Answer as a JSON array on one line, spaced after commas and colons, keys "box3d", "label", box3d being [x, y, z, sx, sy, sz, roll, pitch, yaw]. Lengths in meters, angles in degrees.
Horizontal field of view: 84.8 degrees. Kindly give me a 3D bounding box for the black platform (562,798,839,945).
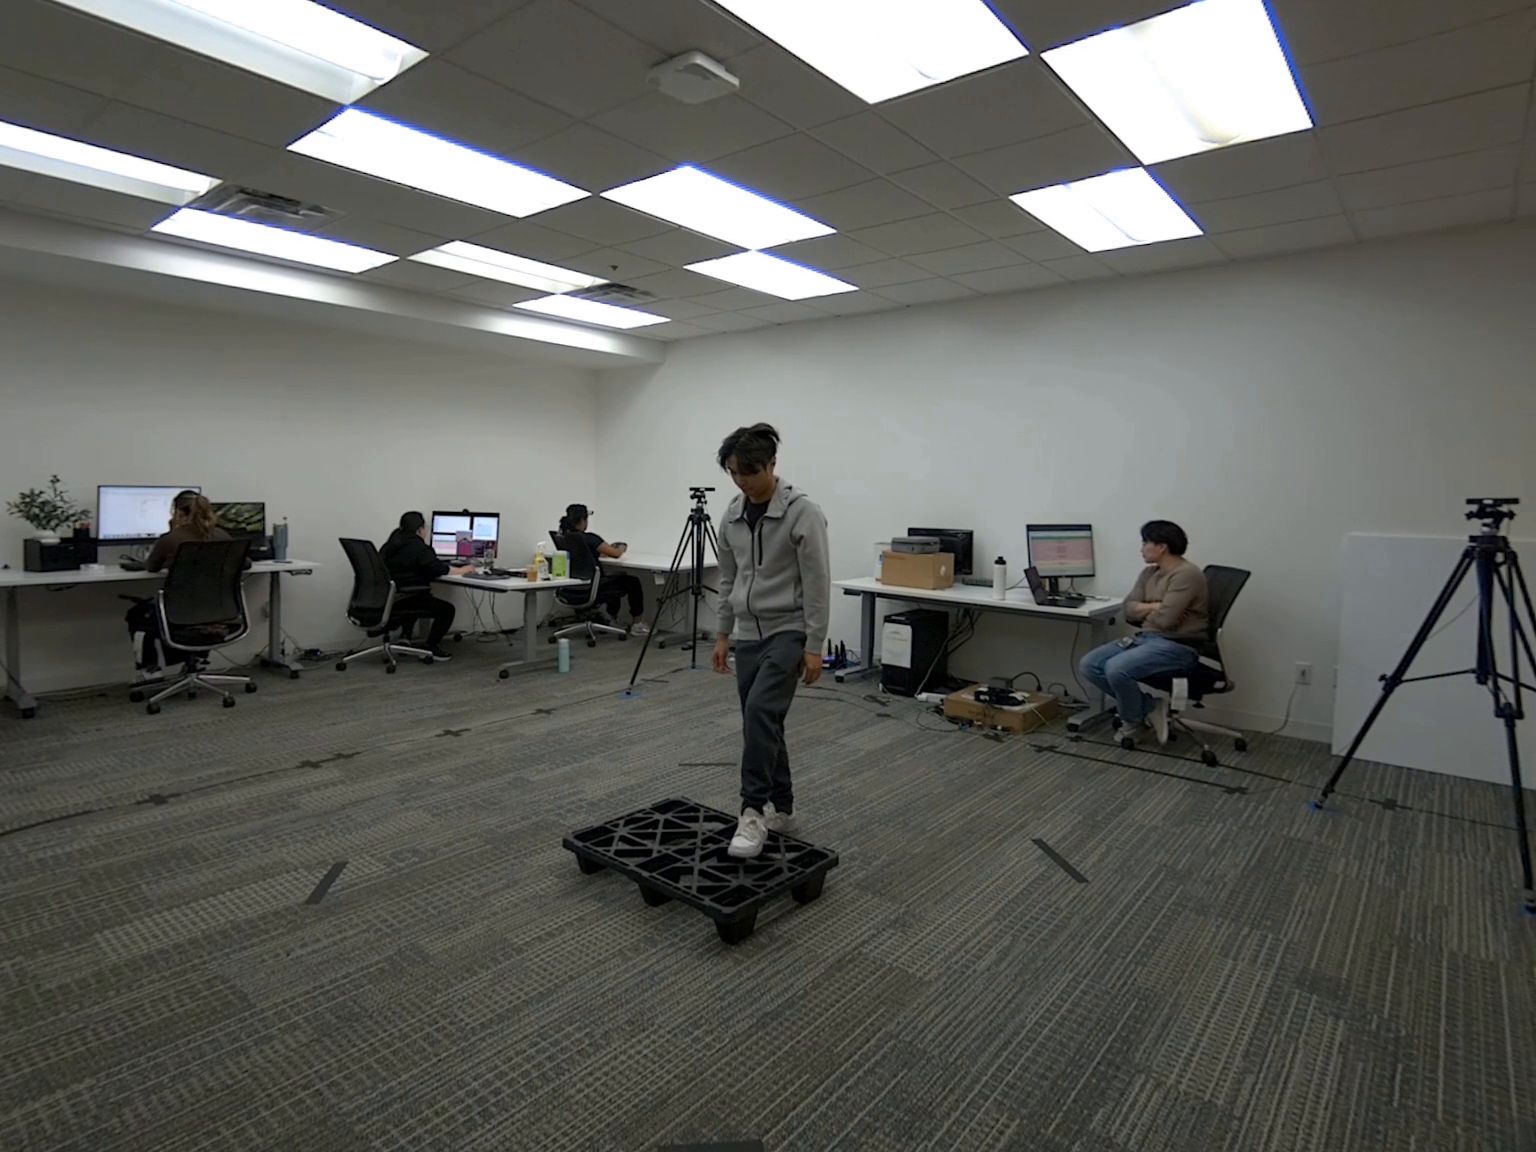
[{"box3d": [-0.255, 1.010, 3.000, 0.833, 0.143, 0.587, 6, 6, 40], "label": "black platform"}]
